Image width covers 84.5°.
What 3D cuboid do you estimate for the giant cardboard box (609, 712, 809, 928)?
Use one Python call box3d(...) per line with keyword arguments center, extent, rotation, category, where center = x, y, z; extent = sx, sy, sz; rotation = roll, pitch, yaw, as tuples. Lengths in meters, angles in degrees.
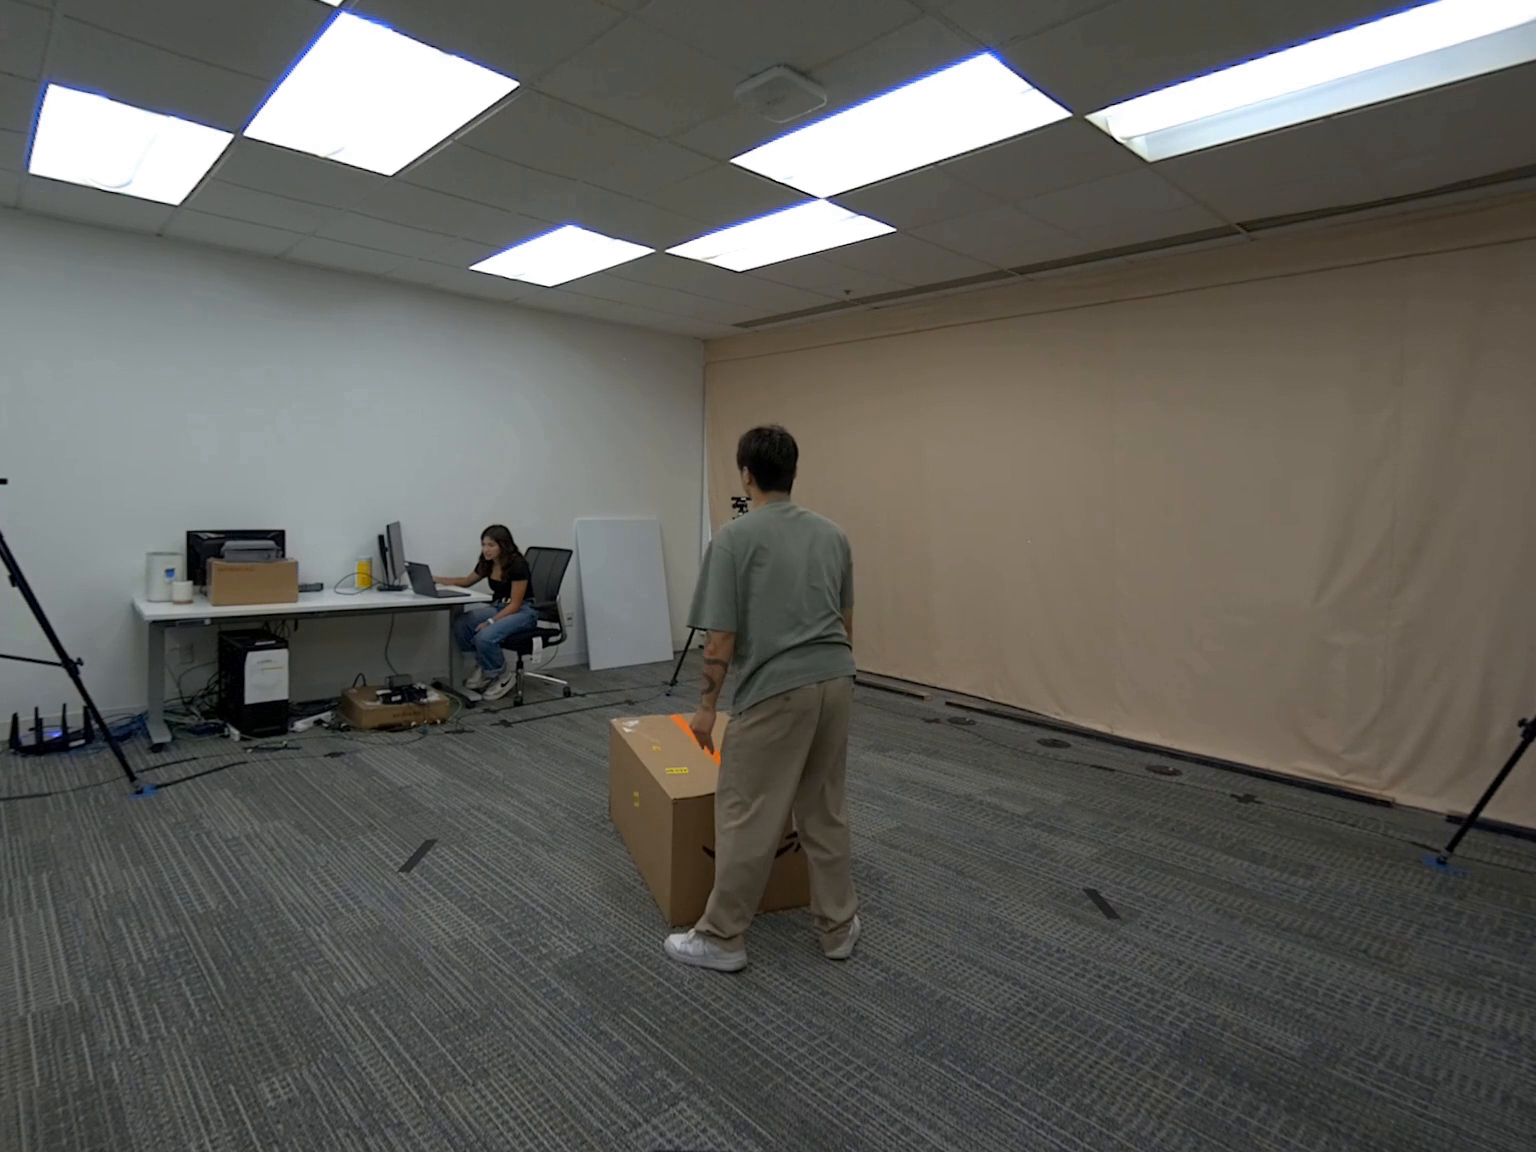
box3d(center=(-0.247, 0.874, 3.281), extent=(0.568, 0.425, 1.045), rotation=(0, 5, -21), category="giant cardboard box")
